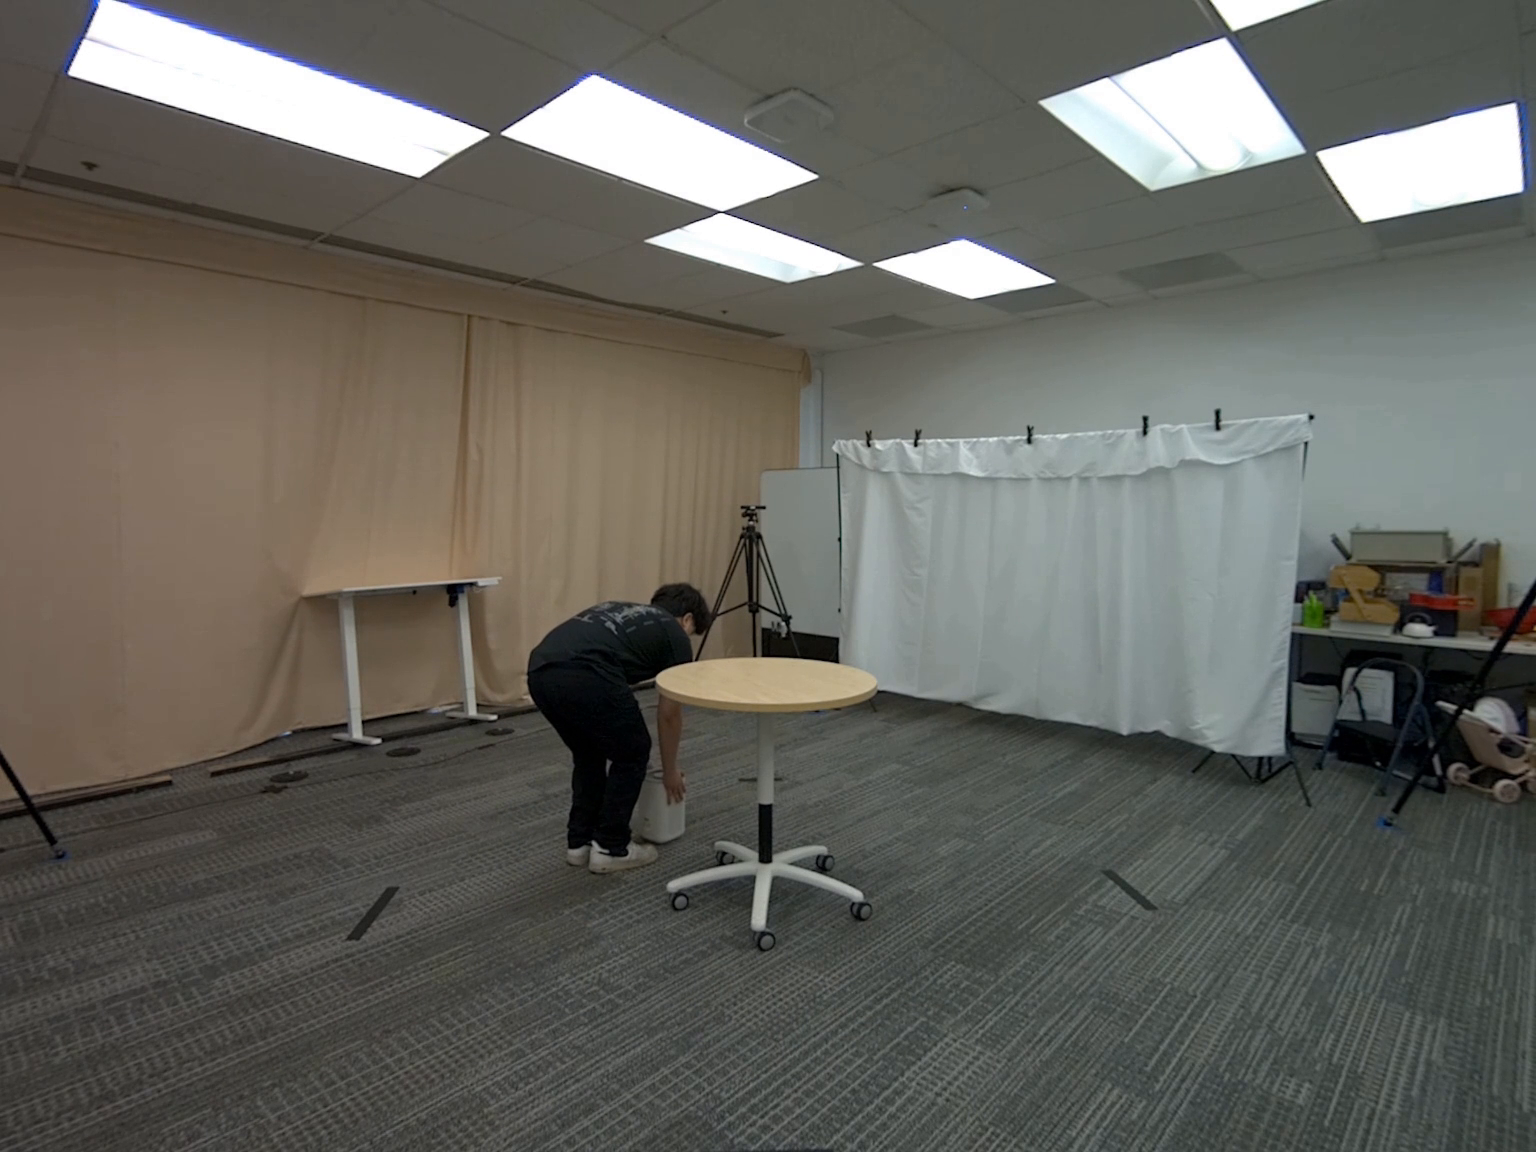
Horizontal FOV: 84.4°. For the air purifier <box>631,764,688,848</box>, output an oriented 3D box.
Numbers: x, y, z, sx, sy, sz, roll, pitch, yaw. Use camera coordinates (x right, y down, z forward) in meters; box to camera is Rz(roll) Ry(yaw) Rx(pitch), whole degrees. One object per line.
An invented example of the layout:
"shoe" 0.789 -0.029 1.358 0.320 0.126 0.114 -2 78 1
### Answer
"air purifier" -0.462 0.953 3.535 0.177 0.264 0.166 3 6 41
